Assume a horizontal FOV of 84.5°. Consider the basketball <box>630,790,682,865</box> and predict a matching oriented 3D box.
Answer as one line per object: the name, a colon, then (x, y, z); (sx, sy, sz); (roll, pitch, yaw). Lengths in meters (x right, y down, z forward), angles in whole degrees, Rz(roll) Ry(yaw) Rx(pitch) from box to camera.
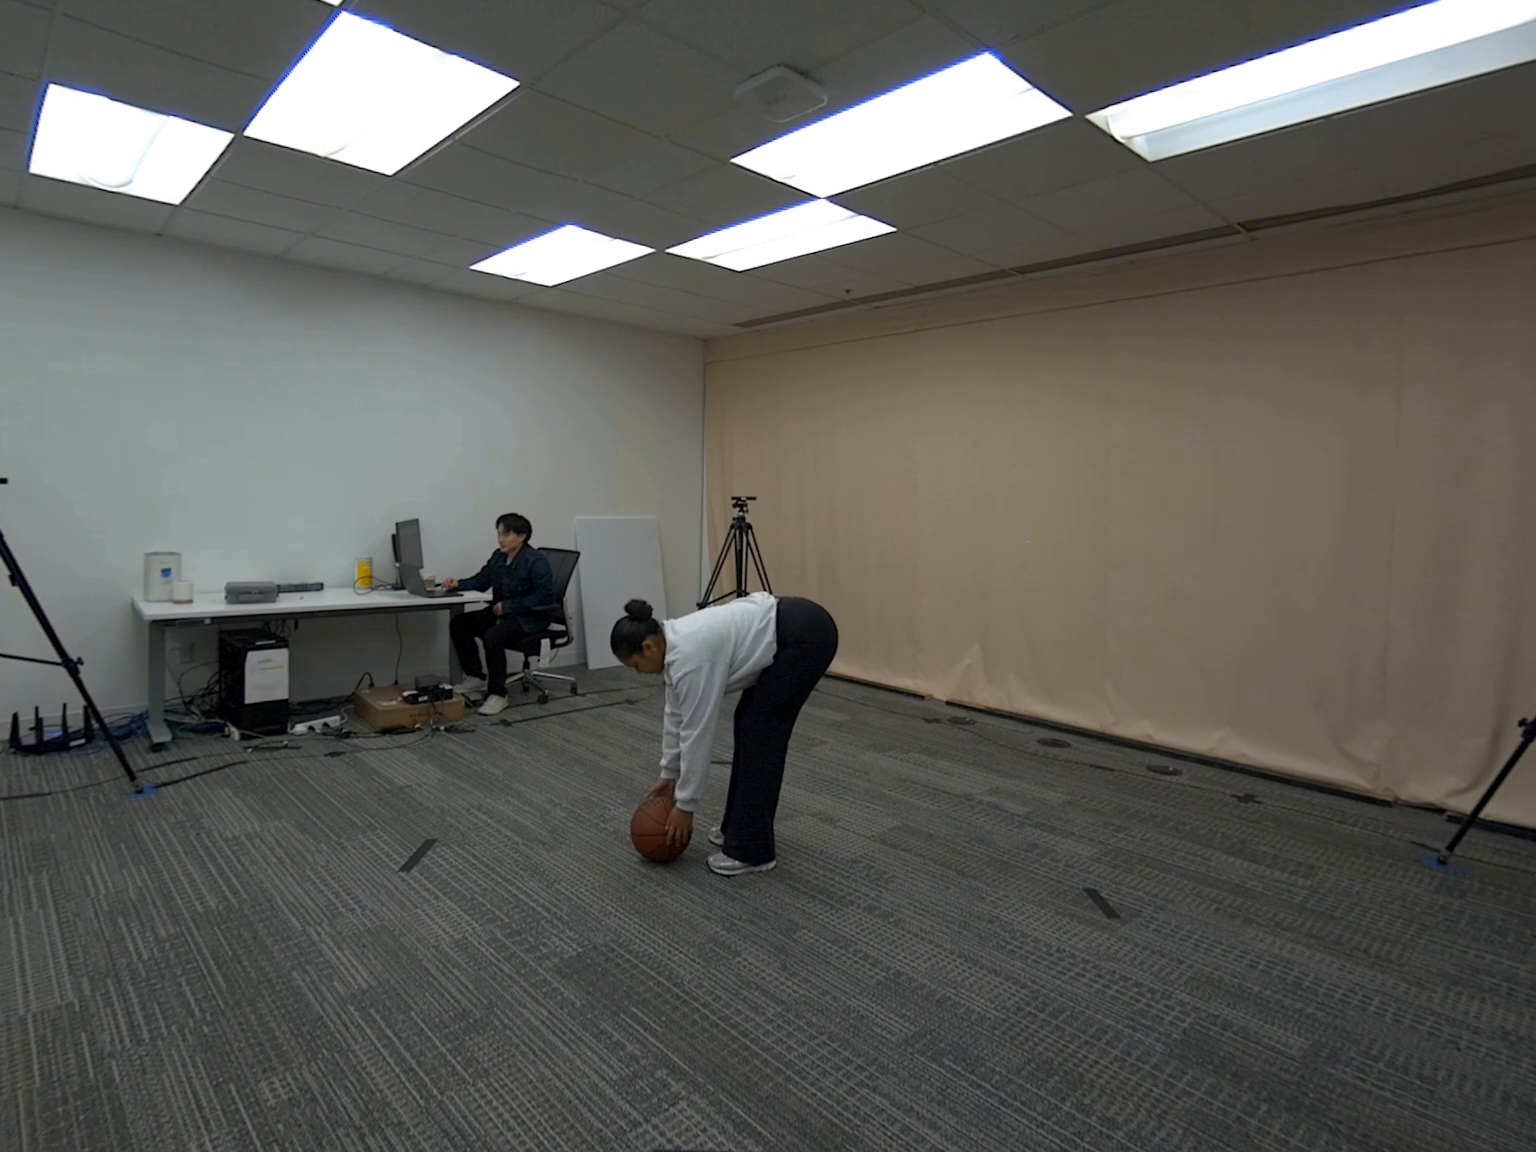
basketball: (-0.414, 0.961, 3.233); (0.236, 0.235, 0.237); (1, 4, -1)
